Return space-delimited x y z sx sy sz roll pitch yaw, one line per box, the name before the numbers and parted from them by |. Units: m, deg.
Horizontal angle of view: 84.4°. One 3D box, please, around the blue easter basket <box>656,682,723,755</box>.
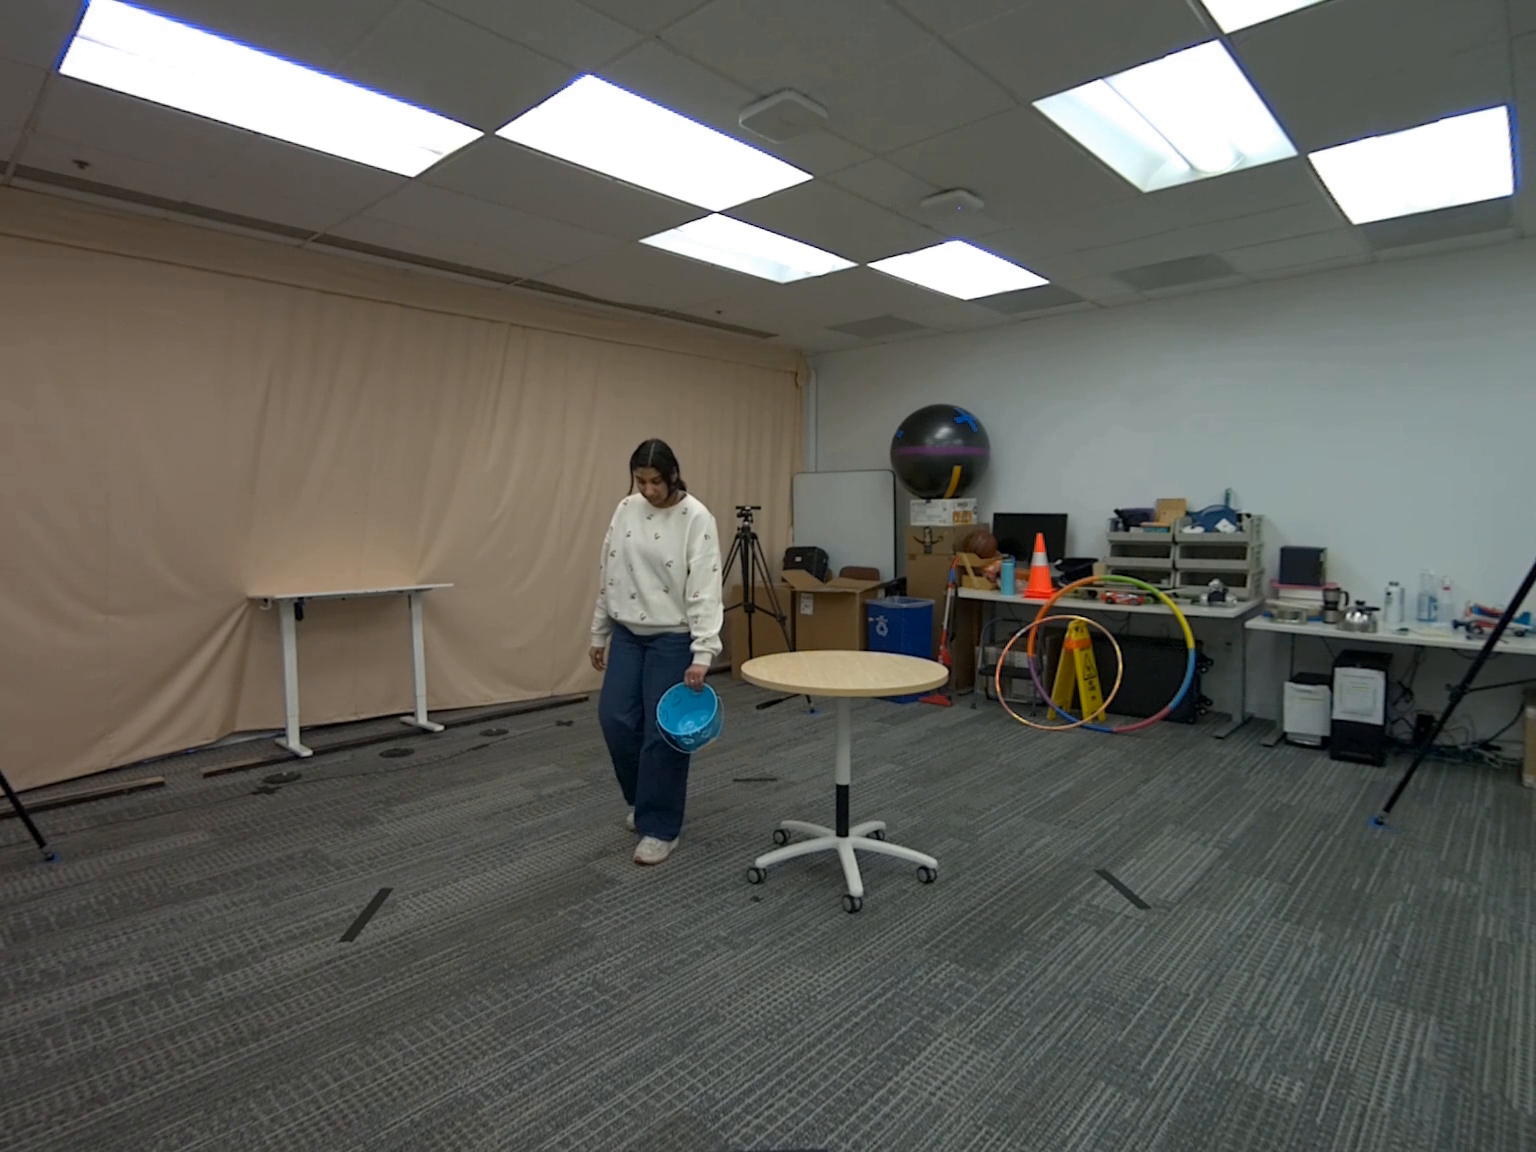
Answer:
blue easter basket | -0.285 0.534 3.137 0.245 0.151 0.248 -10 44 8
